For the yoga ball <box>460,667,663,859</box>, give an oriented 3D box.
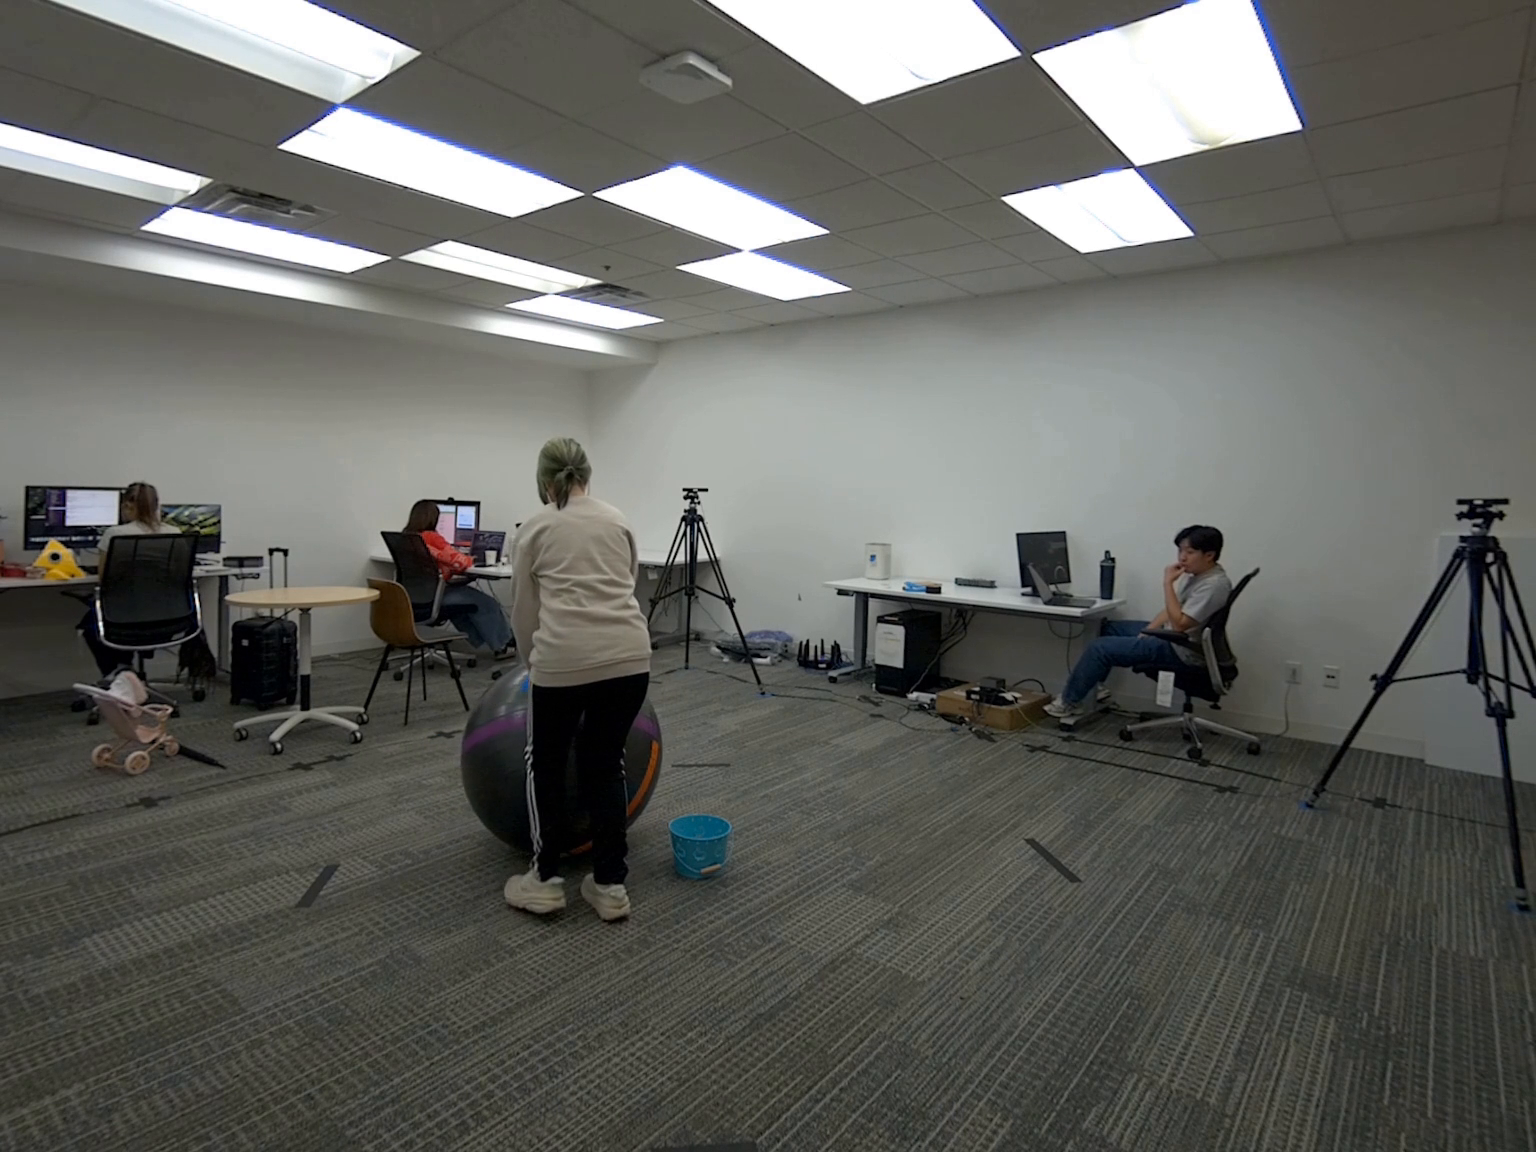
[{"bbox_3d":[-0.805,0.686,3.267,0.757,0.755,0.762,1,4,-2],"label":"yoga ball"}]
